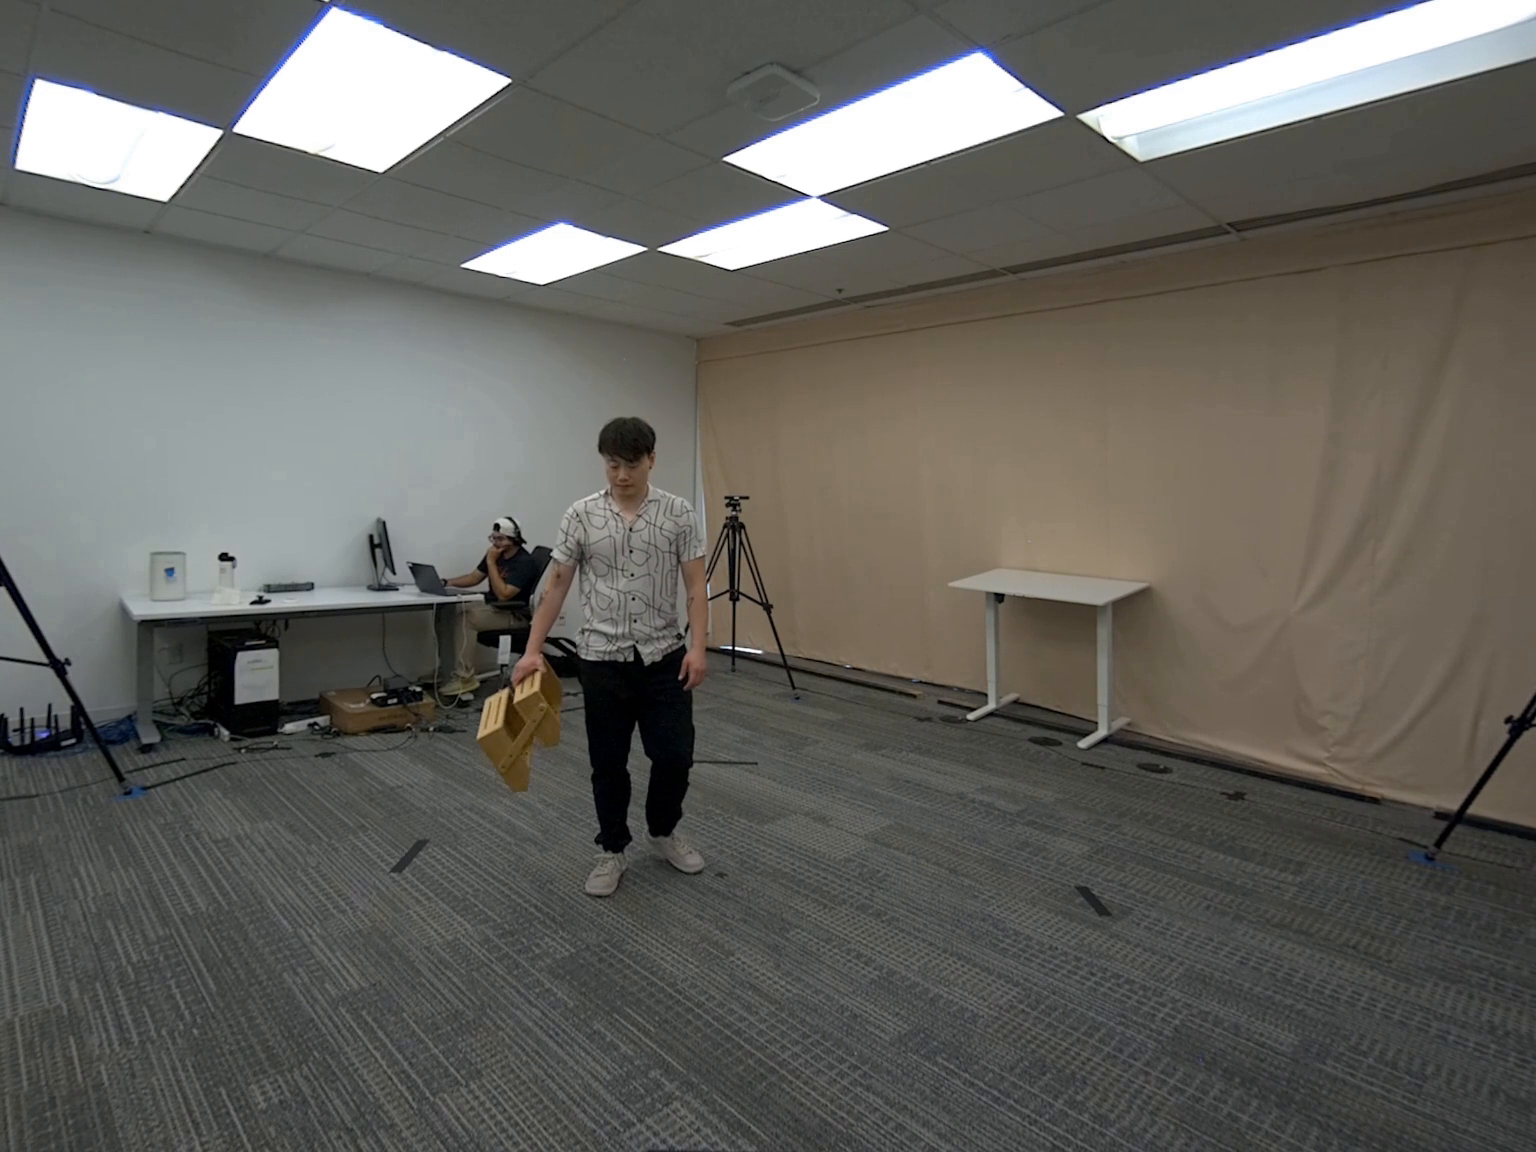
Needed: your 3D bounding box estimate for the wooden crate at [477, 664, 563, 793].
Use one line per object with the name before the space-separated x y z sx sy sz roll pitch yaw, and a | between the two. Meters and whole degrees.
wooden crate | -0.812 0.506 2.915 0.273 0.296 0.331 -29 20 -2
